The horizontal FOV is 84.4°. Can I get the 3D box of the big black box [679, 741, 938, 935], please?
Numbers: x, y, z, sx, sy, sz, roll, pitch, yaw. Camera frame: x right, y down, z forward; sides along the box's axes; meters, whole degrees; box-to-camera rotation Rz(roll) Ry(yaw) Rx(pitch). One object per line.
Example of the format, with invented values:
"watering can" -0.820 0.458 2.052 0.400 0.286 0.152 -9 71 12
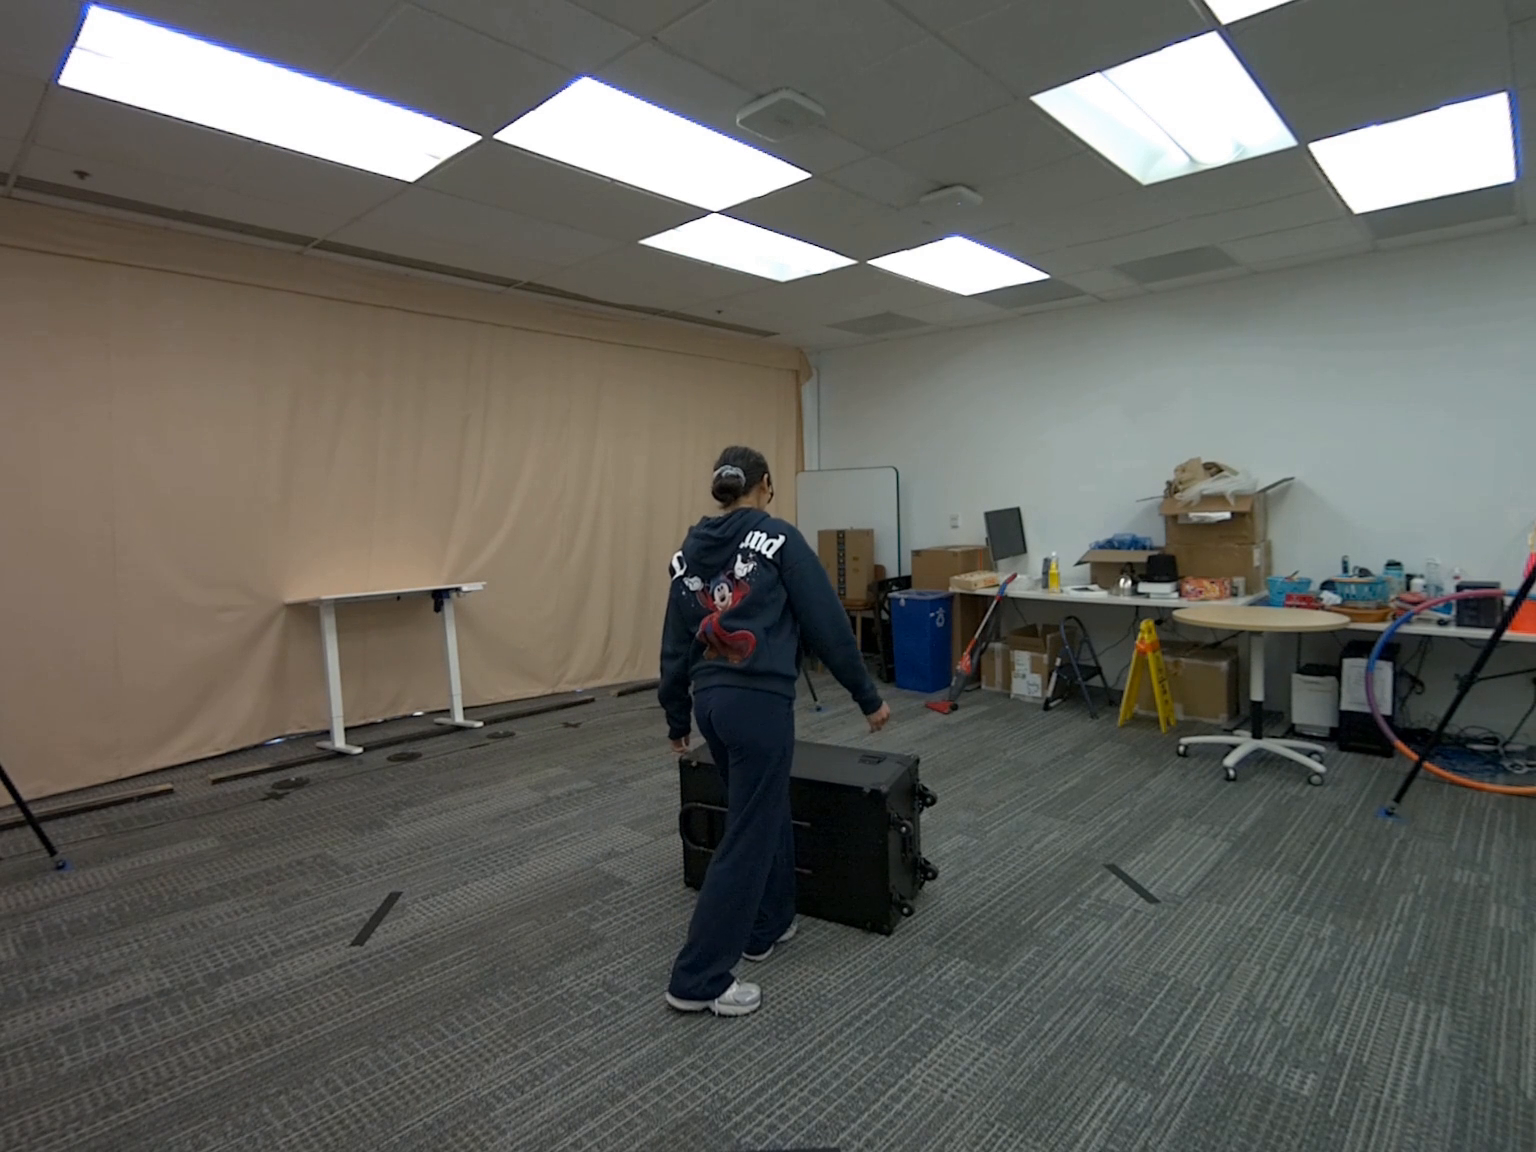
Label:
"big black box" 0.136 0.882 2.996 0.885 0.519 0.387 1 6 28
